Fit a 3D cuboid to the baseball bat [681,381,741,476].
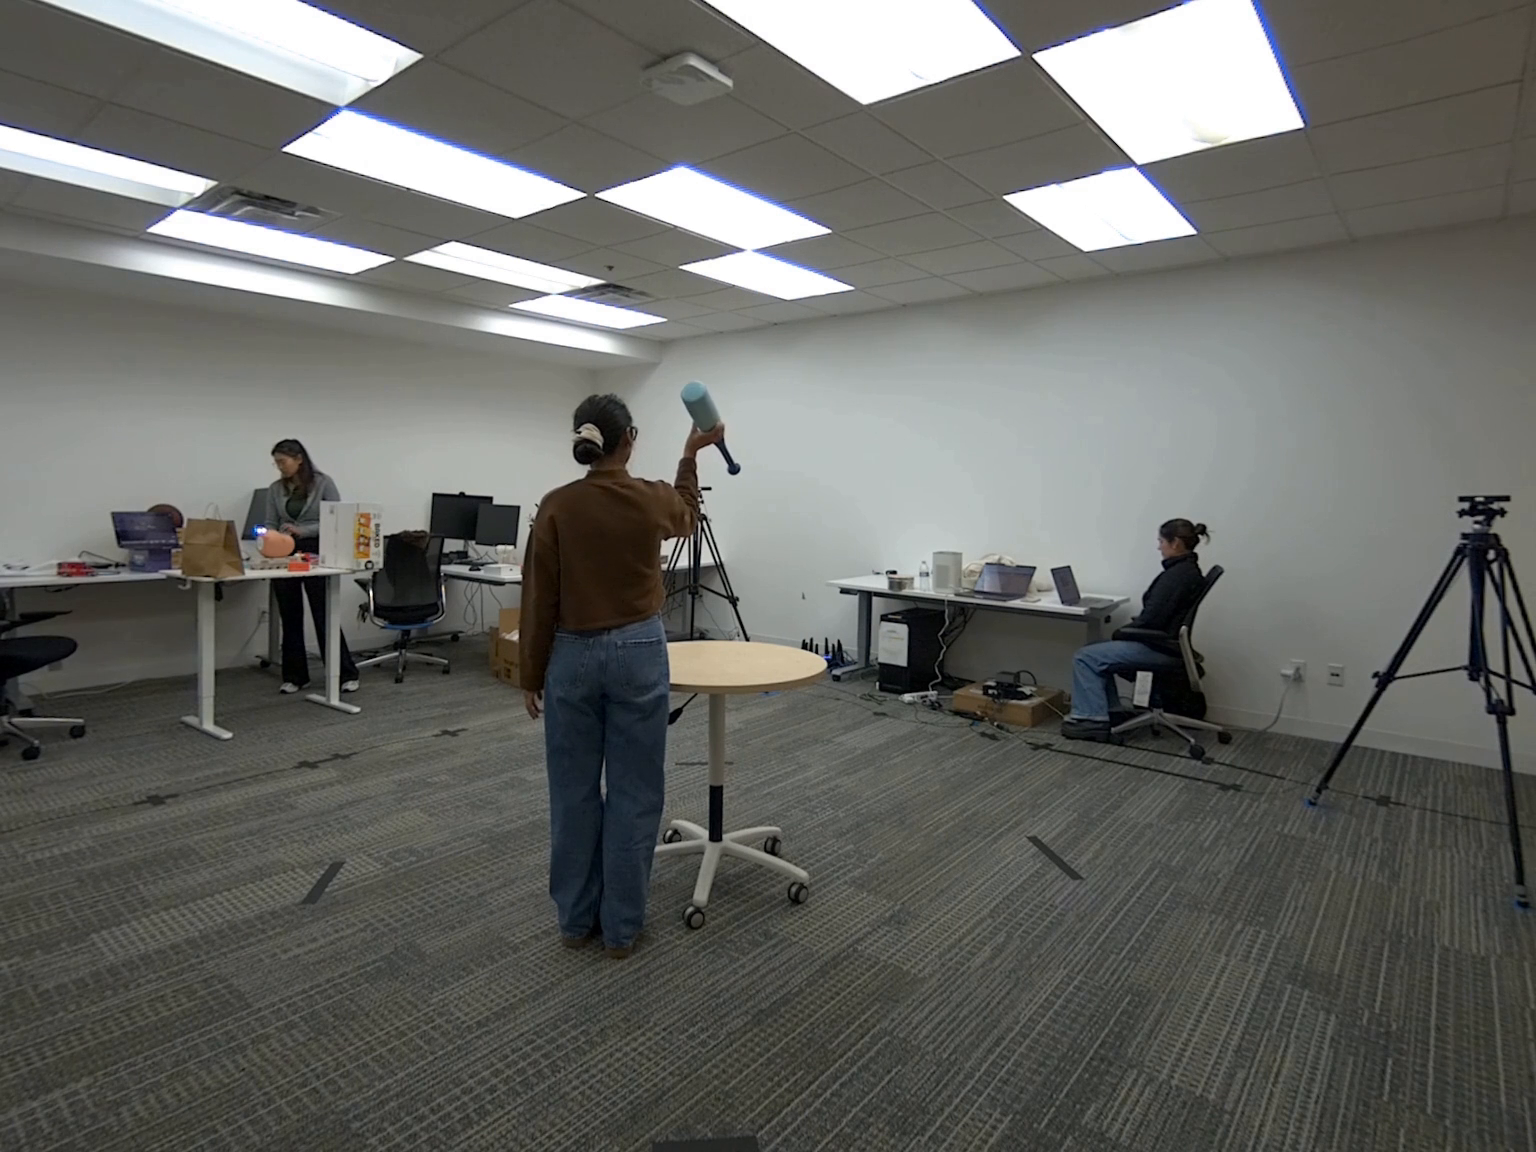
[{"bbox_3d":[-0.199,-0.498,2.930,0.090,0.090,0.525,2,-21,13],"label":"baseball bat"}]
